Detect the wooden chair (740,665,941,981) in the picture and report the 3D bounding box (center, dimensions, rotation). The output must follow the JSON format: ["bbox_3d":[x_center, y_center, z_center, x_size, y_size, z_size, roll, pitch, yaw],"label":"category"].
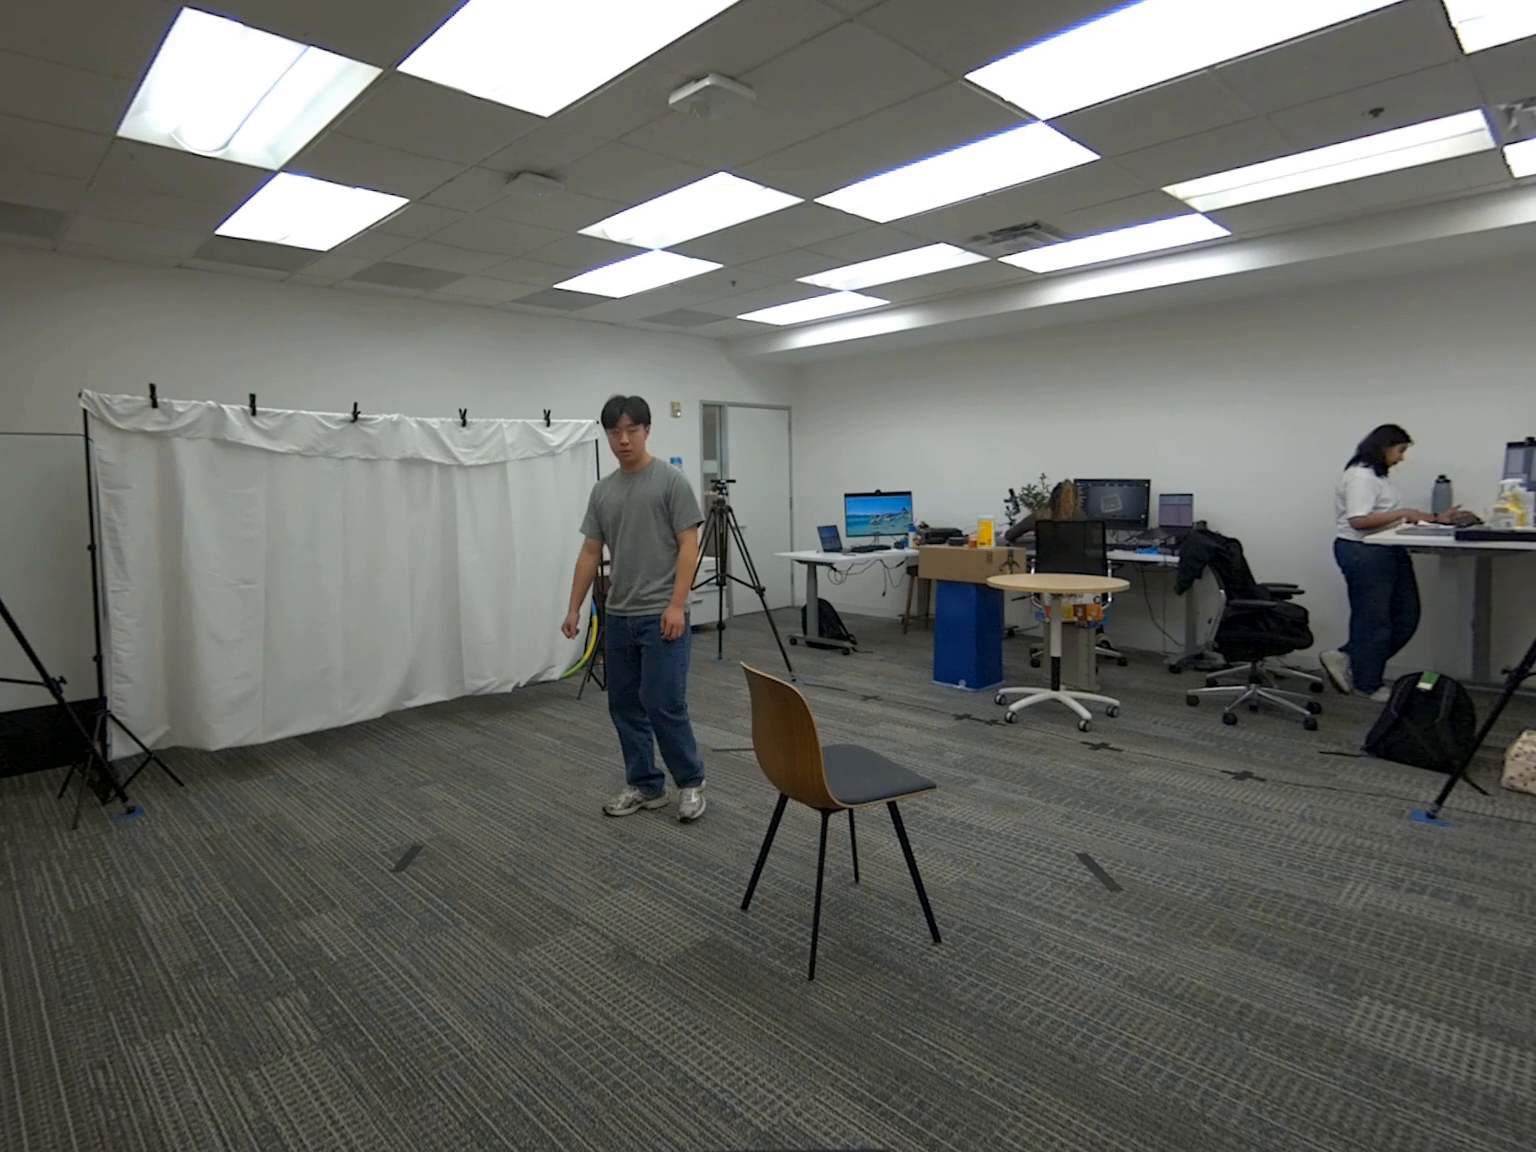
[{"bbox_3d":[0.216,0.668,2.640,0.513,0.872,0.490,-8,7,-25],"label":"wooden chair"}]
